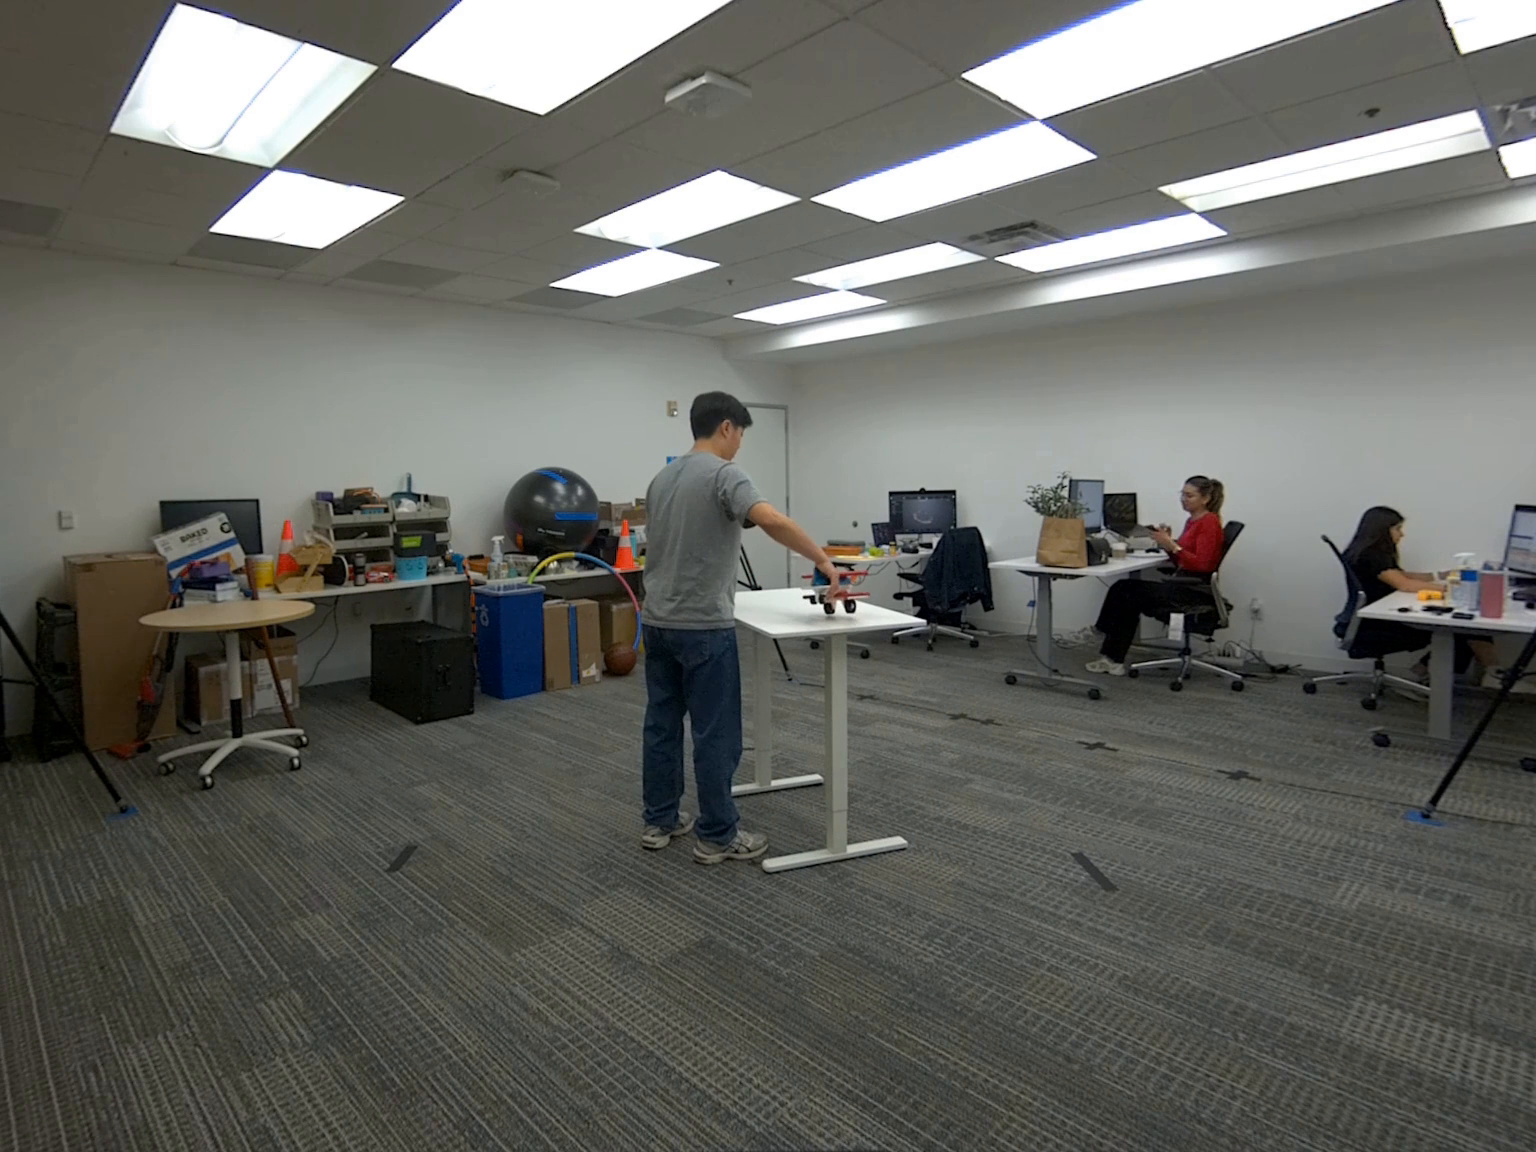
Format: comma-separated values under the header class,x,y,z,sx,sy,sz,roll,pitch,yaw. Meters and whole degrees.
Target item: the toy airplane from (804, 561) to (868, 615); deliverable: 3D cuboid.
class,x,y,z,sx,sy,sz,roll,pitch,yaw
toy airplane,0.238,0.048,3.117,0.252,0.158,0.255,3,-14,4
